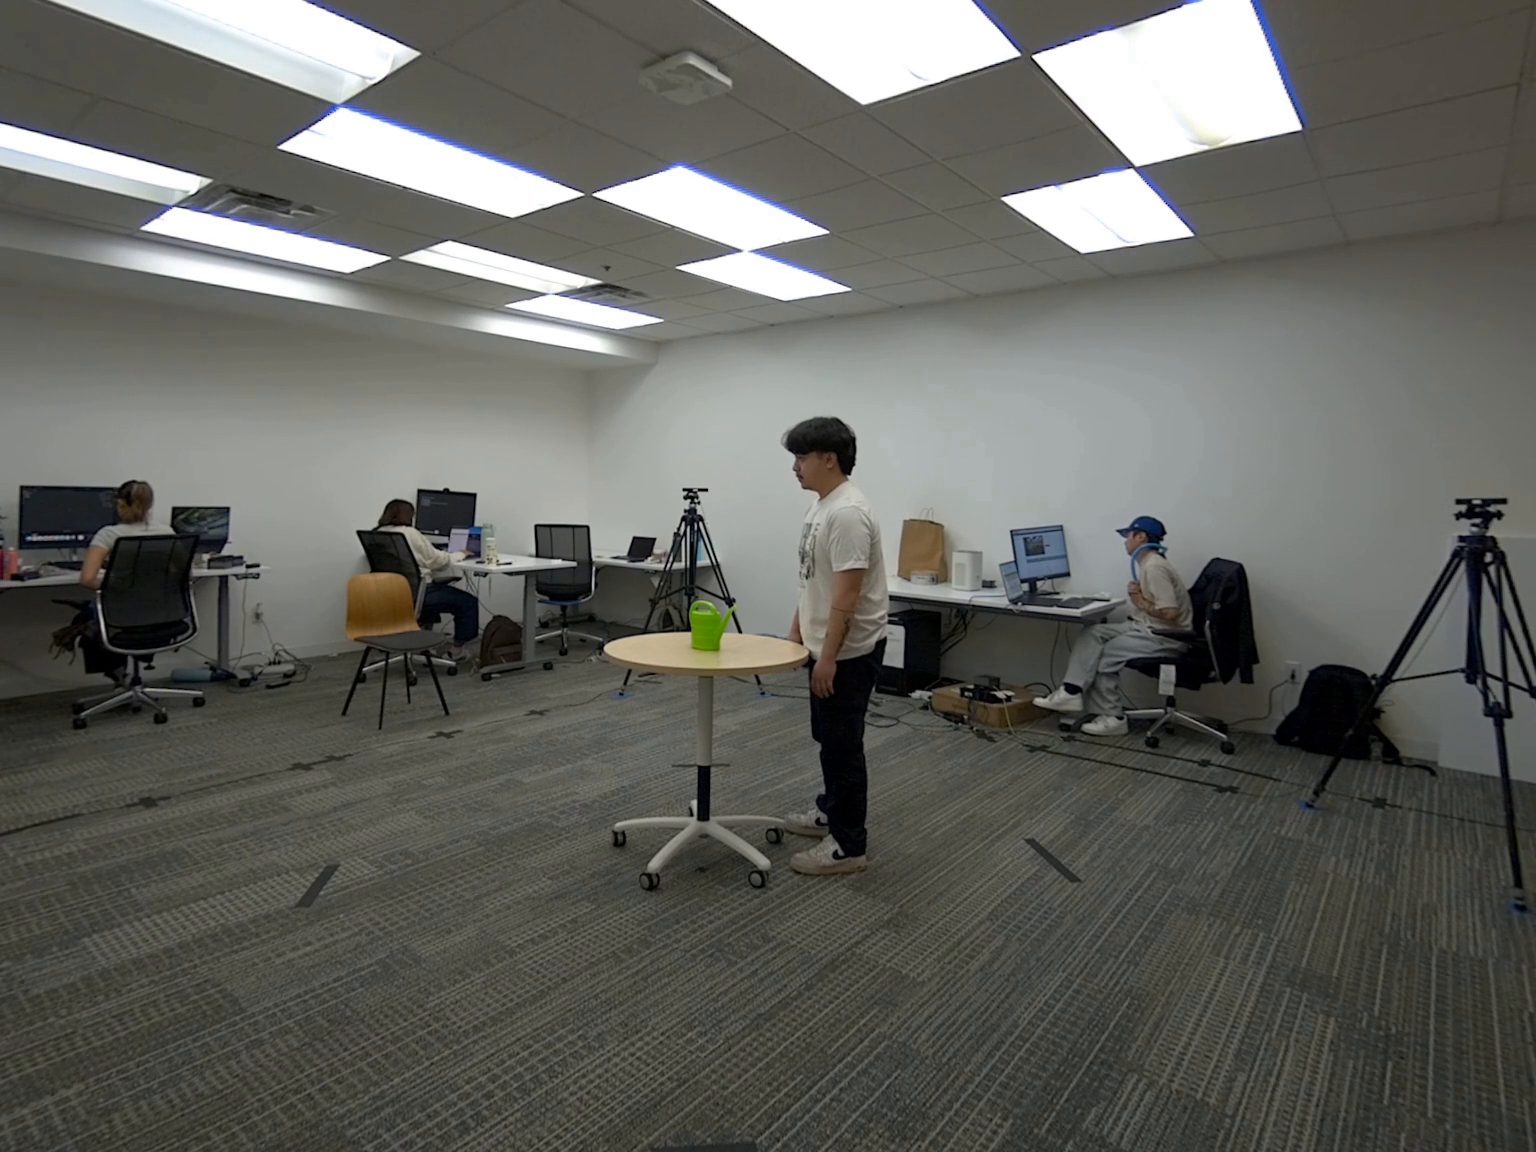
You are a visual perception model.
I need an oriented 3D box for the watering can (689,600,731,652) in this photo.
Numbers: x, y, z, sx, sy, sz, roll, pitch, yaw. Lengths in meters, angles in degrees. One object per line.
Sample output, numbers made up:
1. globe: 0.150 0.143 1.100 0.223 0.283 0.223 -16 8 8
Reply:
1. watering can: -0.224 0.182 3.169 0.095 0.176 0.286 -2 4 -29
